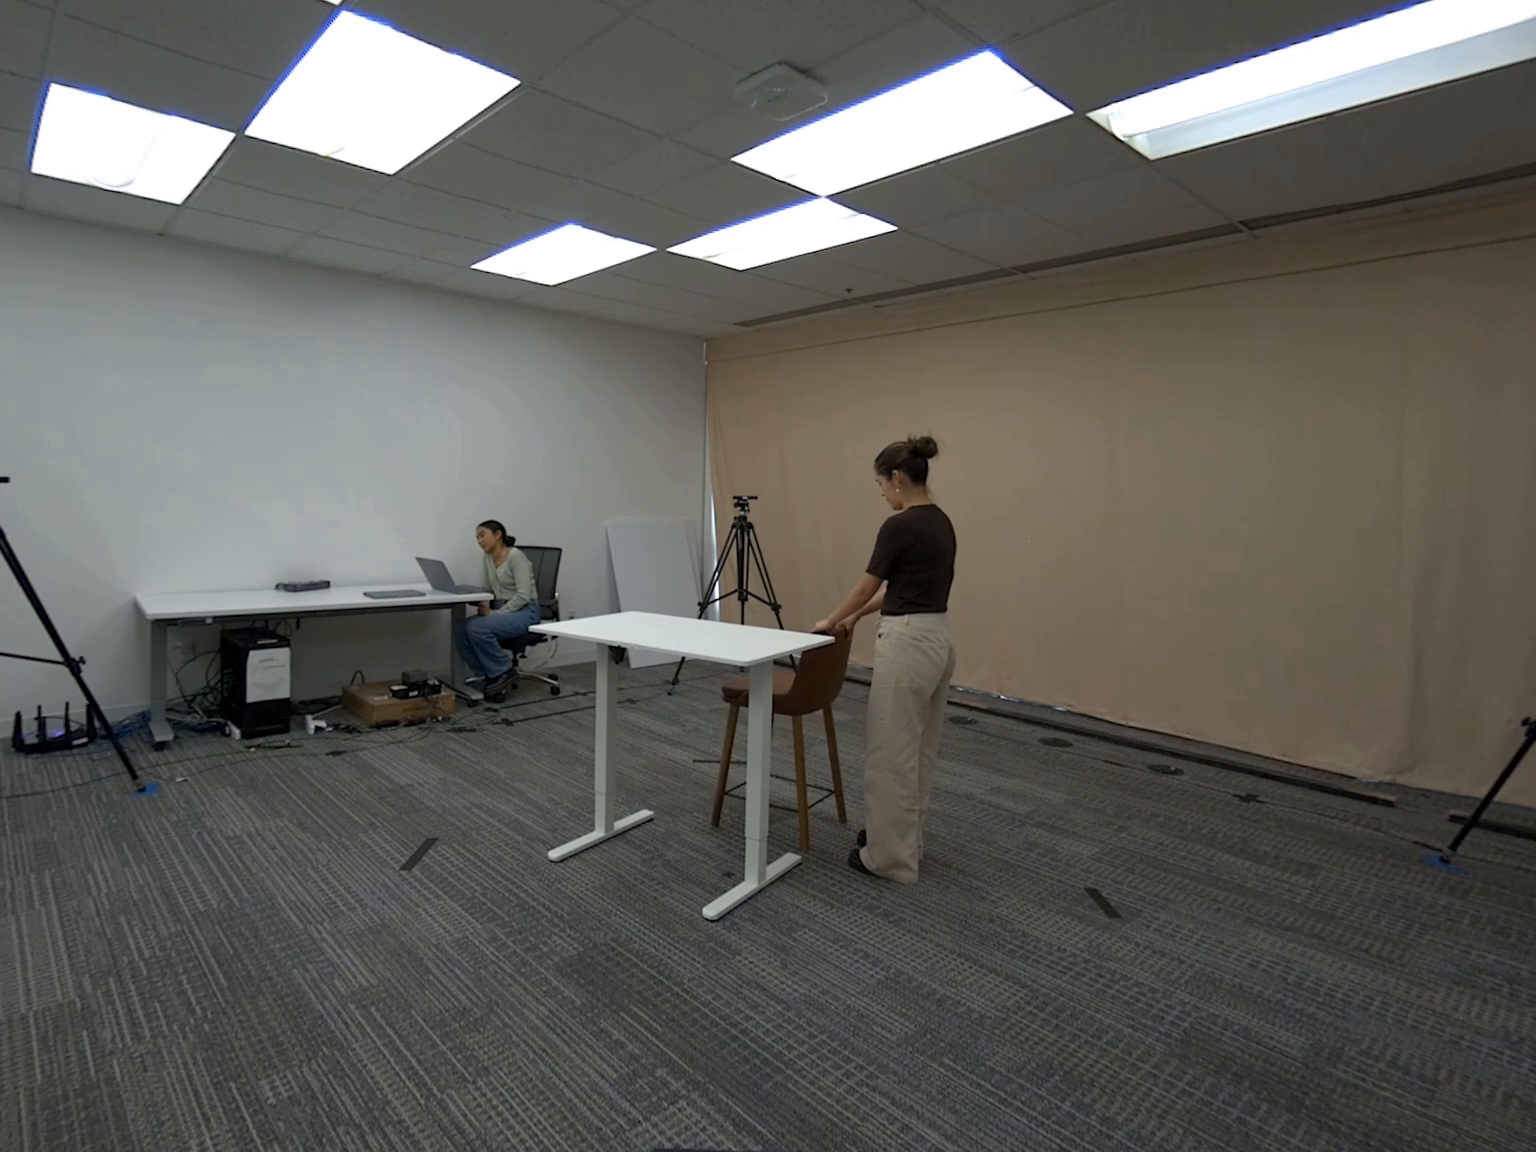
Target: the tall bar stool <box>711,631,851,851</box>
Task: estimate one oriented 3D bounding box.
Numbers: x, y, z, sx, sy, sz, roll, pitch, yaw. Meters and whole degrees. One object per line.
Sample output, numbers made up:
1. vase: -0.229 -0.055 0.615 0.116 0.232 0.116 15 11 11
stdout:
1. tall bar stool: 0.071 0.632 3.578 0.479 0.887 0.447 7 6 32
